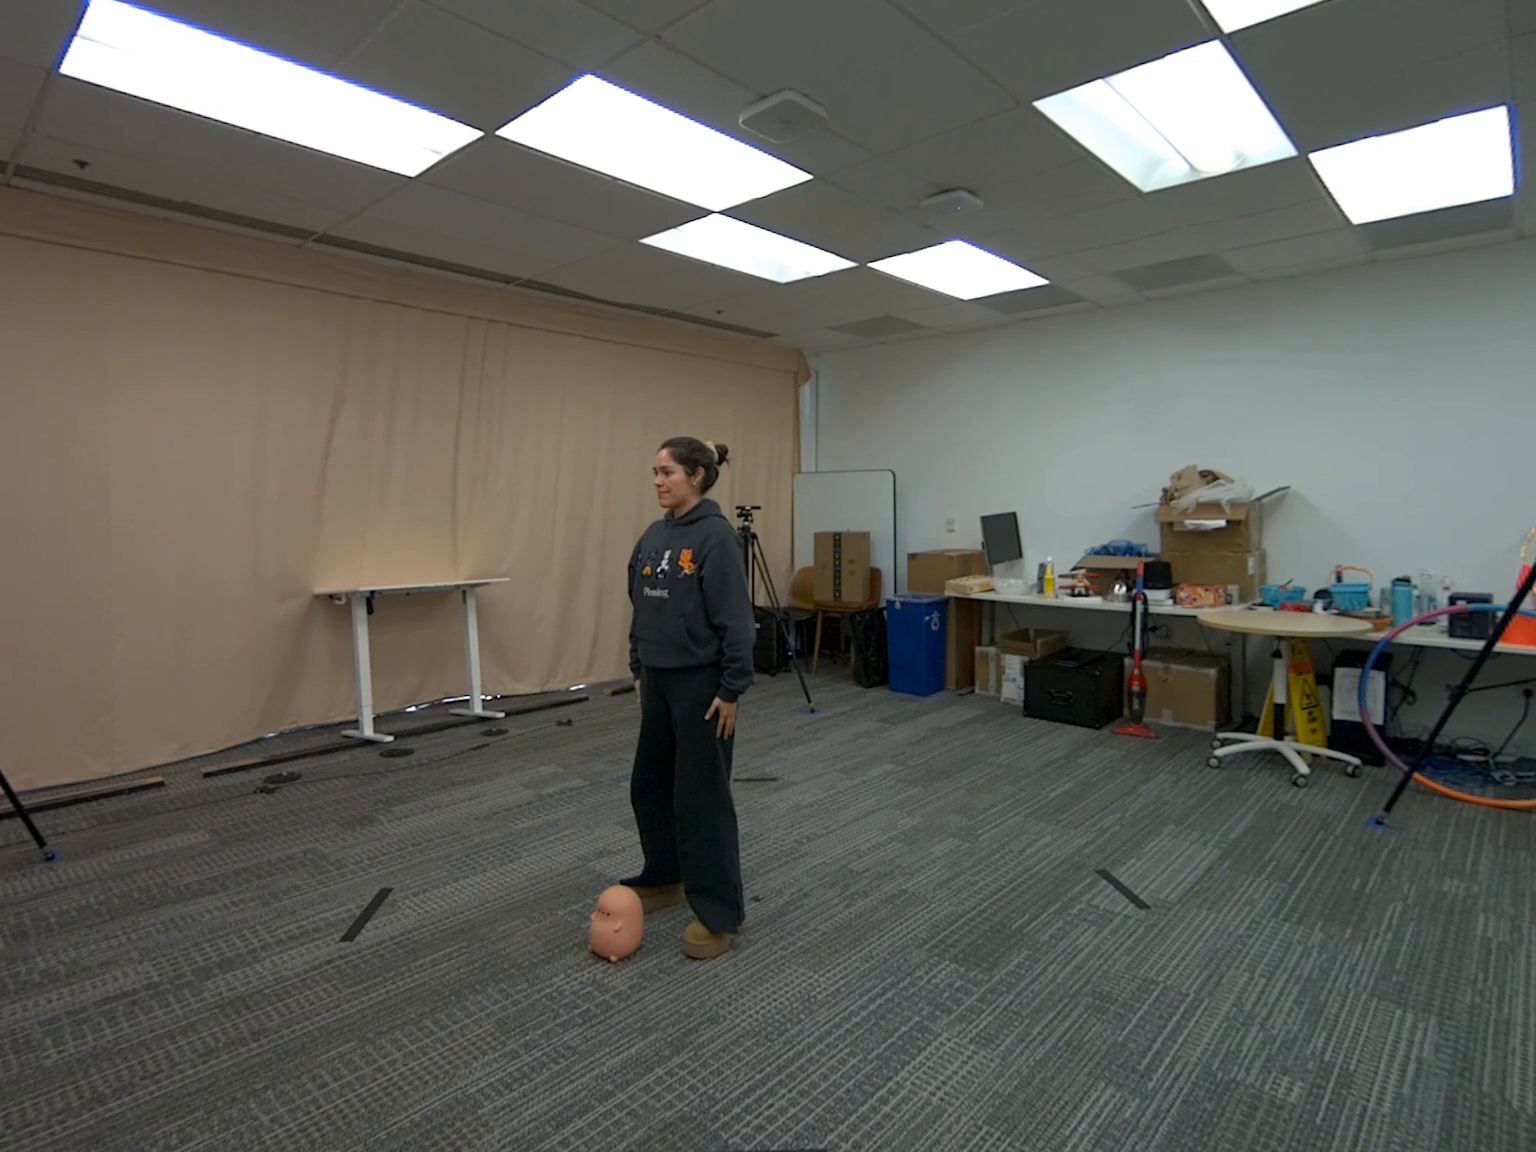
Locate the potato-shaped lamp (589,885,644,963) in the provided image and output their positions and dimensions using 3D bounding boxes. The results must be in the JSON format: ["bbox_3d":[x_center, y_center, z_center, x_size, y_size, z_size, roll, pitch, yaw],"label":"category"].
[{"bbox_3d":[-0.453,1.079,2.639,0.170,0.198,0.166,-1,0,42],"label":"potato-shaped lamp"}]
